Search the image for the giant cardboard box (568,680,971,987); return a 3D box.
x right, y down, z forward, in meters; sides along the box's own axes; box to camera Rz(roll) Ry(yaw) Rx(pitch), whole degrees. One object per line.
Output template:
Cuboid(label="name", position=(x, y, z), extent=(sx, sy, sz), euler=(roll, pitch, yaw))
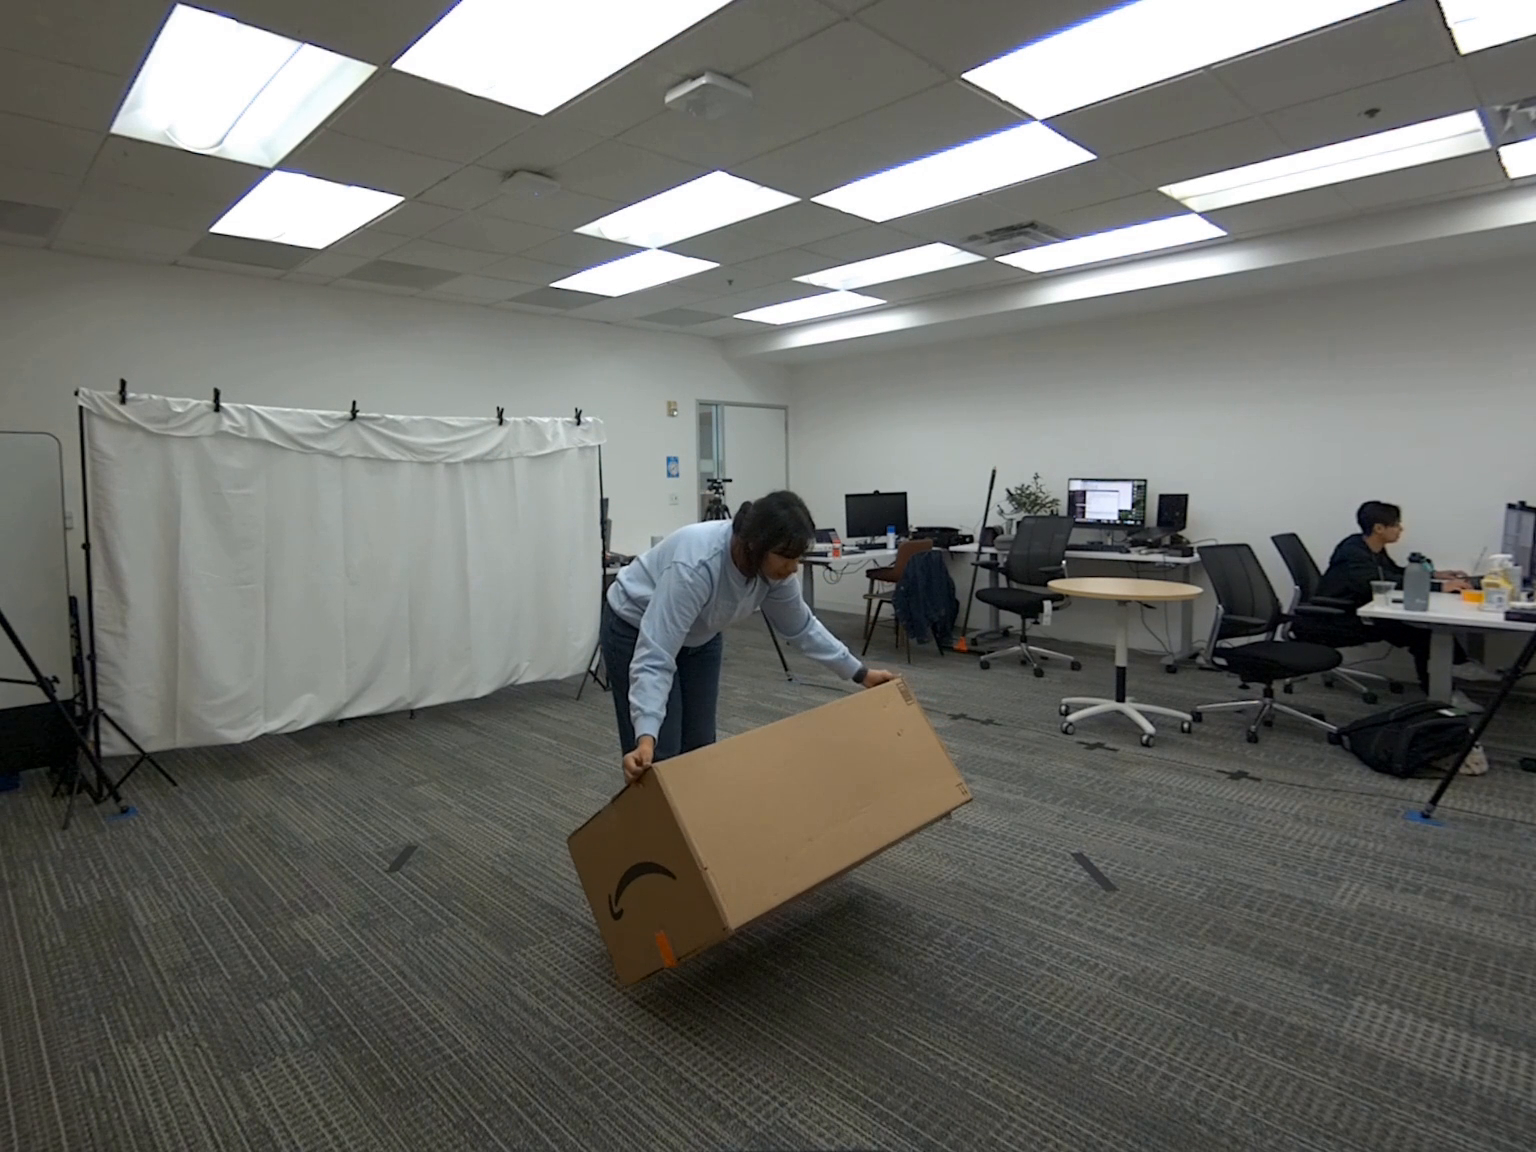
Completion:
Cuboid(label="giant cardboard box", position=(0.024, 0.725, 2.532), extent=(1.001, 0.437, 0.577), euler=(-10, -27, -43))
